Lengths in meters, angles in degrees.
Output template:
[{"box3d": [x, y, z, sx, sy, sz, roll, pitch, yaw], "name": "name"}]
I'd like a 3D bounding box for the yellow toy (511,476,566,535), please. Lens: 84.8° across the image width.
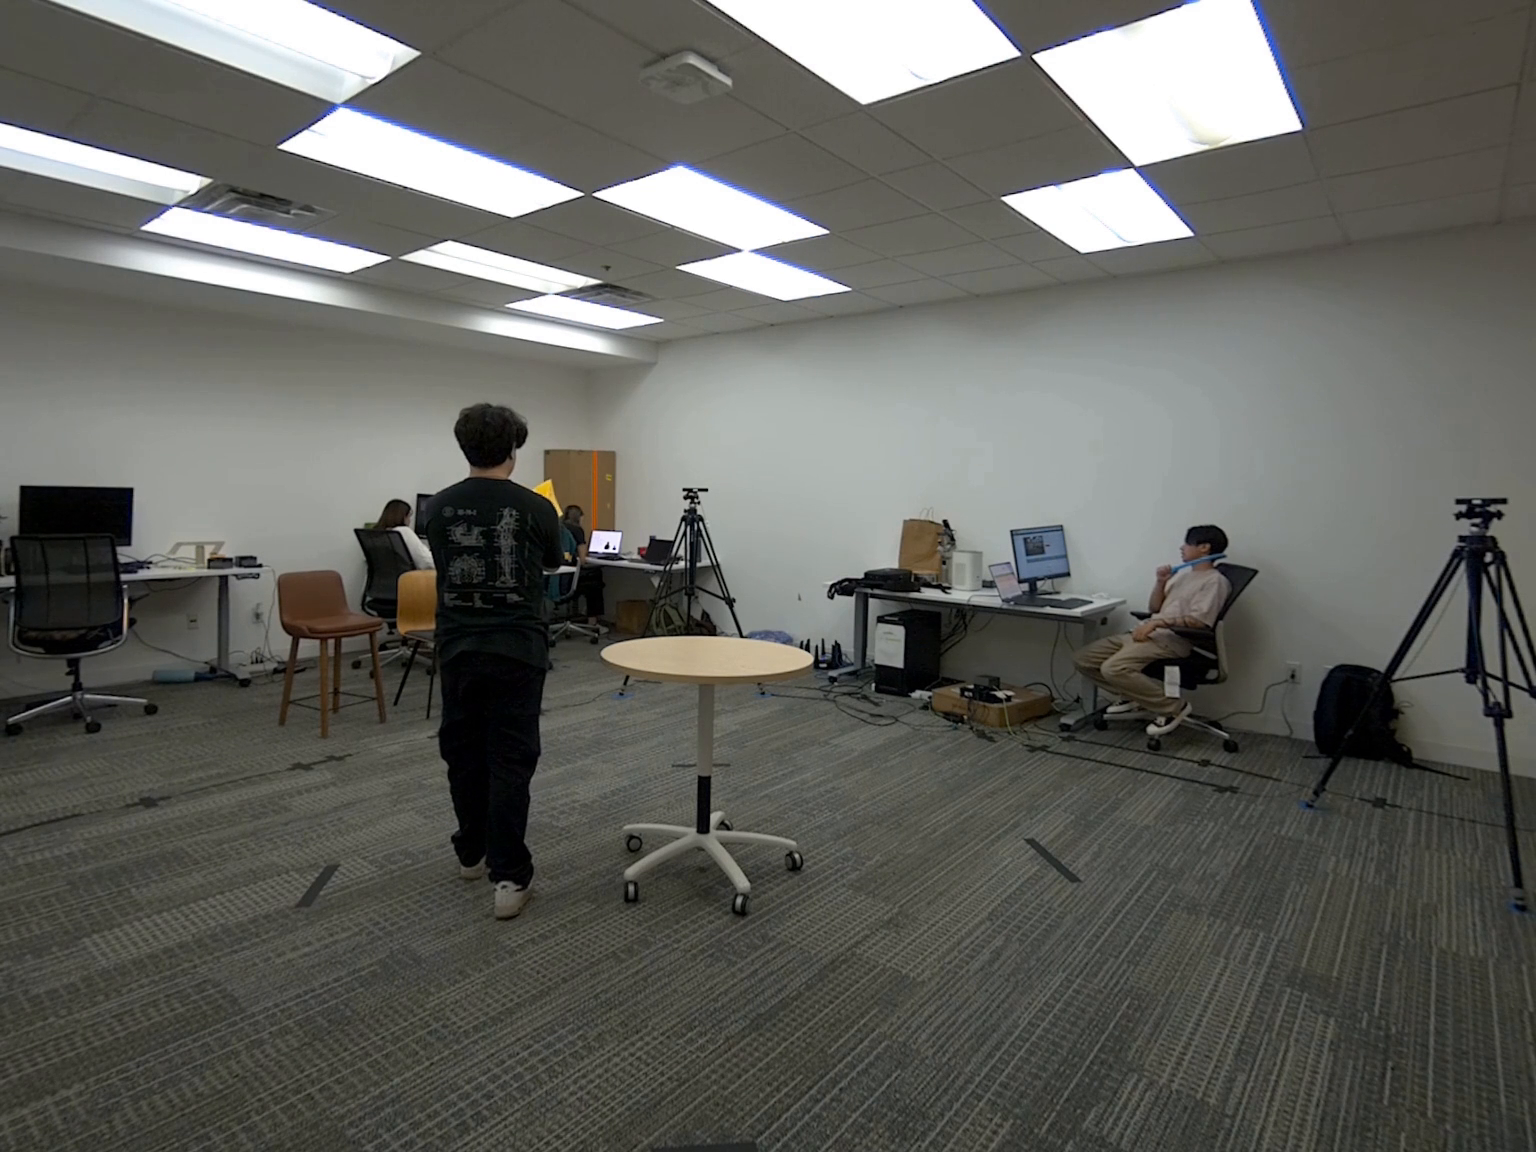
[{"box3d": [-0.953, -0.283, 3.452, 0.192, 0.229, 0.207, 4, 8, -3], "name": "yellow toy"}]
